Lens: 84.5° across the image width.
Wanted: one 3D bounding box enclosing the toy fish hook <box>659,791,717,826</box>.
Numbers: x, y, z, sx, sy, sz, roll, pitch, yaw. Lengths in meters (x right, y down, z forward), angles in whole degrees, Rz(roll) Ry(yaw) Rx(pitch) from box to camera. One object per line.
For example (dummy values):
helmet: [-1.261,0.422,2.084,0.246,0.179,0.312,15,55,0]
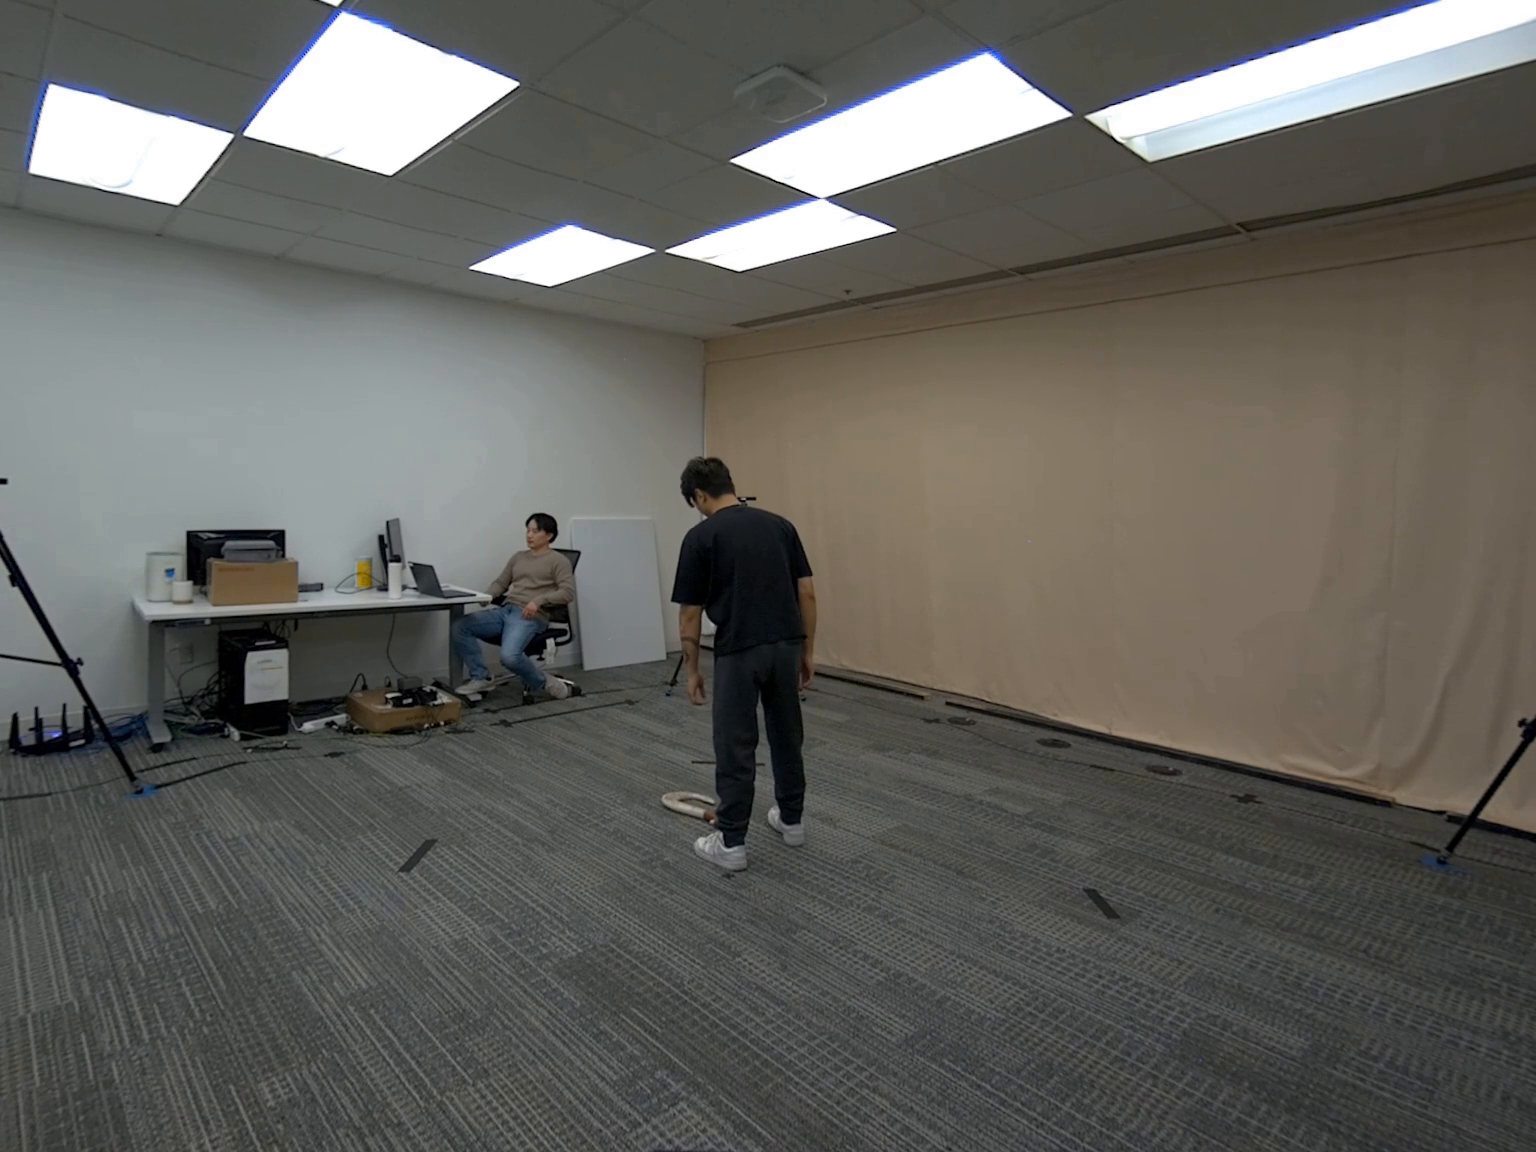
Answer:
toy fish hook: [-0.277,1.030,3.714,0.219,0.048,0.520,-4,8,-41]
